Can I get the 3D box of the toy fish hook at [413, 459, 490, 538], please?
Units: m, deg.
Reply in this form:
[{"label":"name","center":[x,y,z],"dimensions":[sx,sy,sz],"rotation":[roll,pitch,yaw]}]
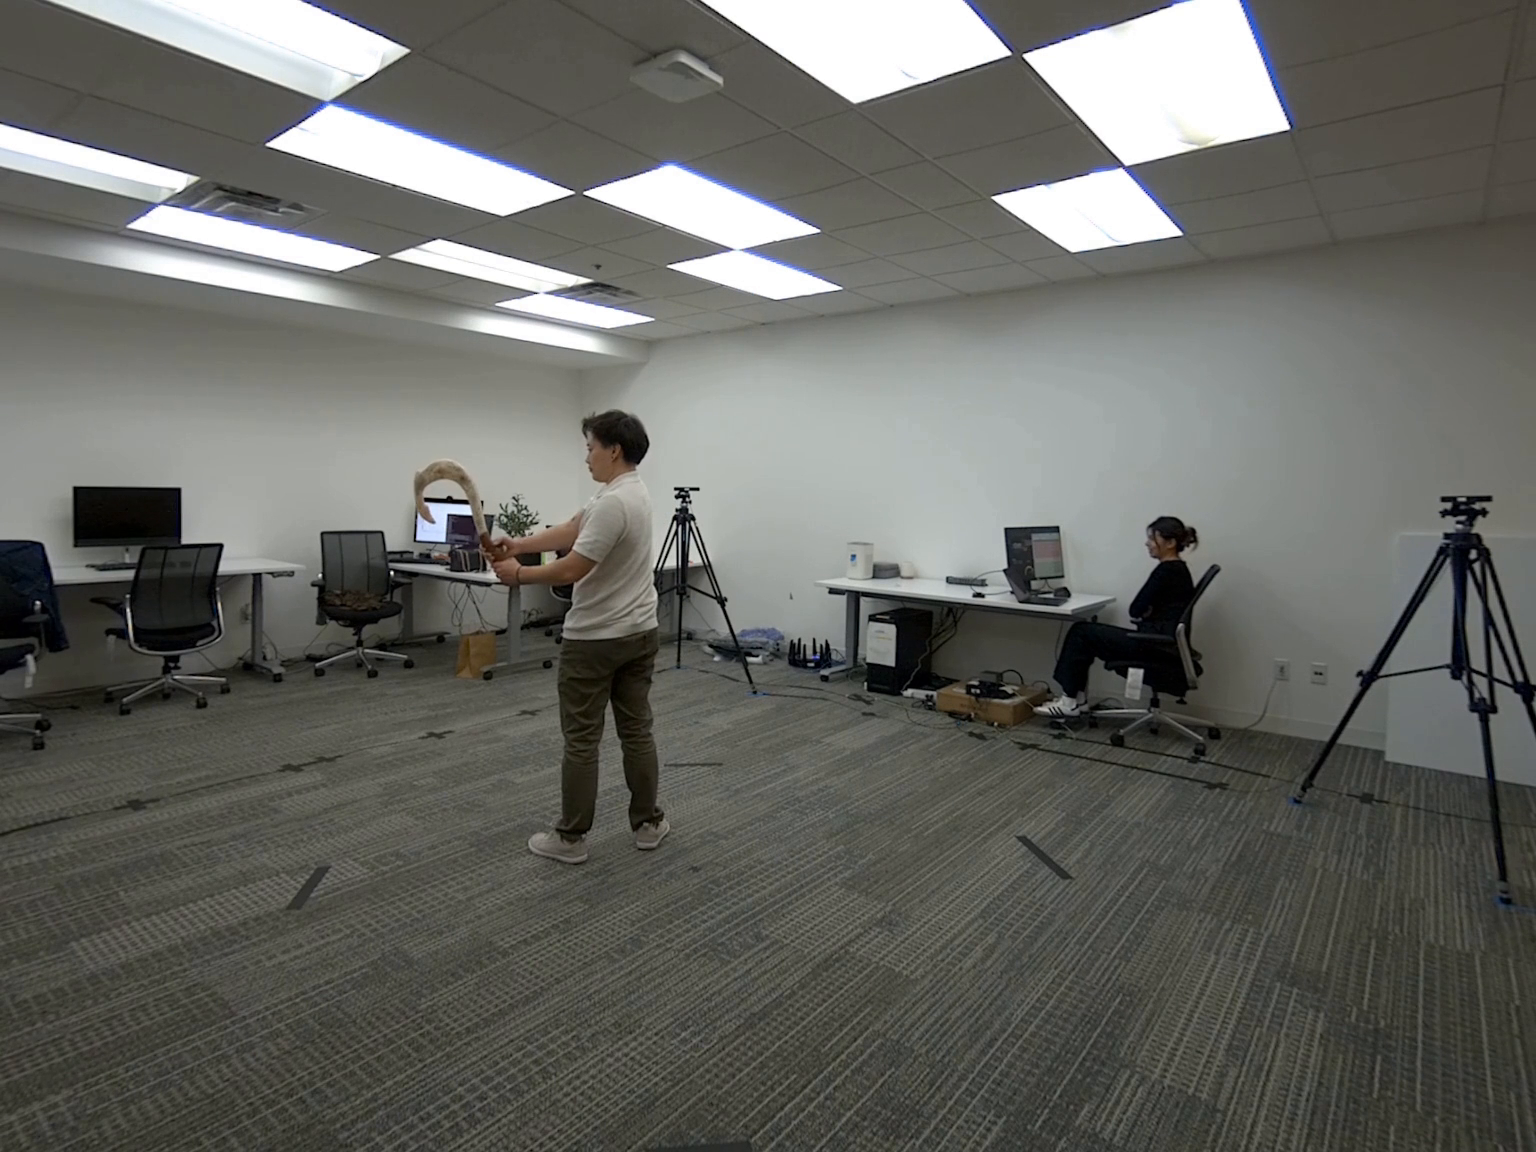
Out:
[{"label":"toy fish hook","center":[-1.120,-0.179,3.101],"dimensions":[0.224,0.500,0.049],"rotation":[-26,9,-1]}]
